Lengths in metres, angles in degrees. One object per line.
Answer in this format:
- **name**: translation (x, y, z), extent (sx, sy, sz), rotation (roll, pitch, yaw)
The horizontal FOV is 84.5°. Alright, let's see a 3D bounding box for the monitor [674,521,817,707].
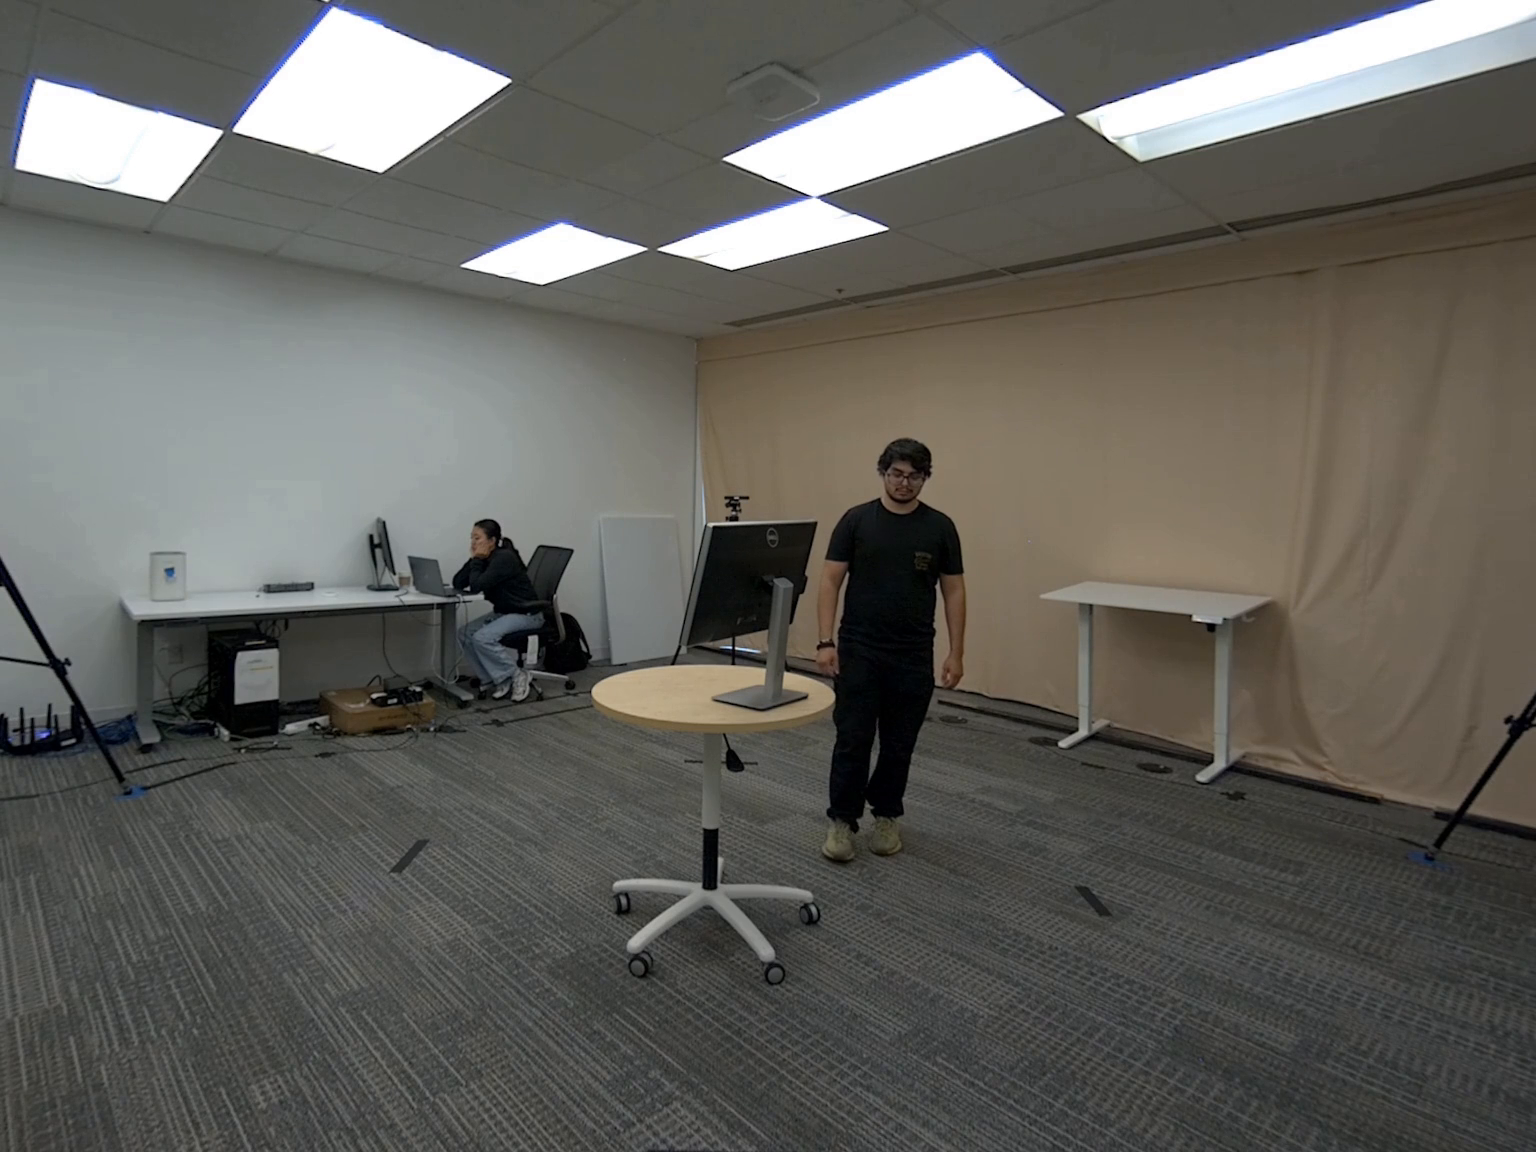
- **monitor**: translation (0.000, 0.114, 2.527), extent (0.215, 0.551, 0.553), rotation (12, 10, 34)
